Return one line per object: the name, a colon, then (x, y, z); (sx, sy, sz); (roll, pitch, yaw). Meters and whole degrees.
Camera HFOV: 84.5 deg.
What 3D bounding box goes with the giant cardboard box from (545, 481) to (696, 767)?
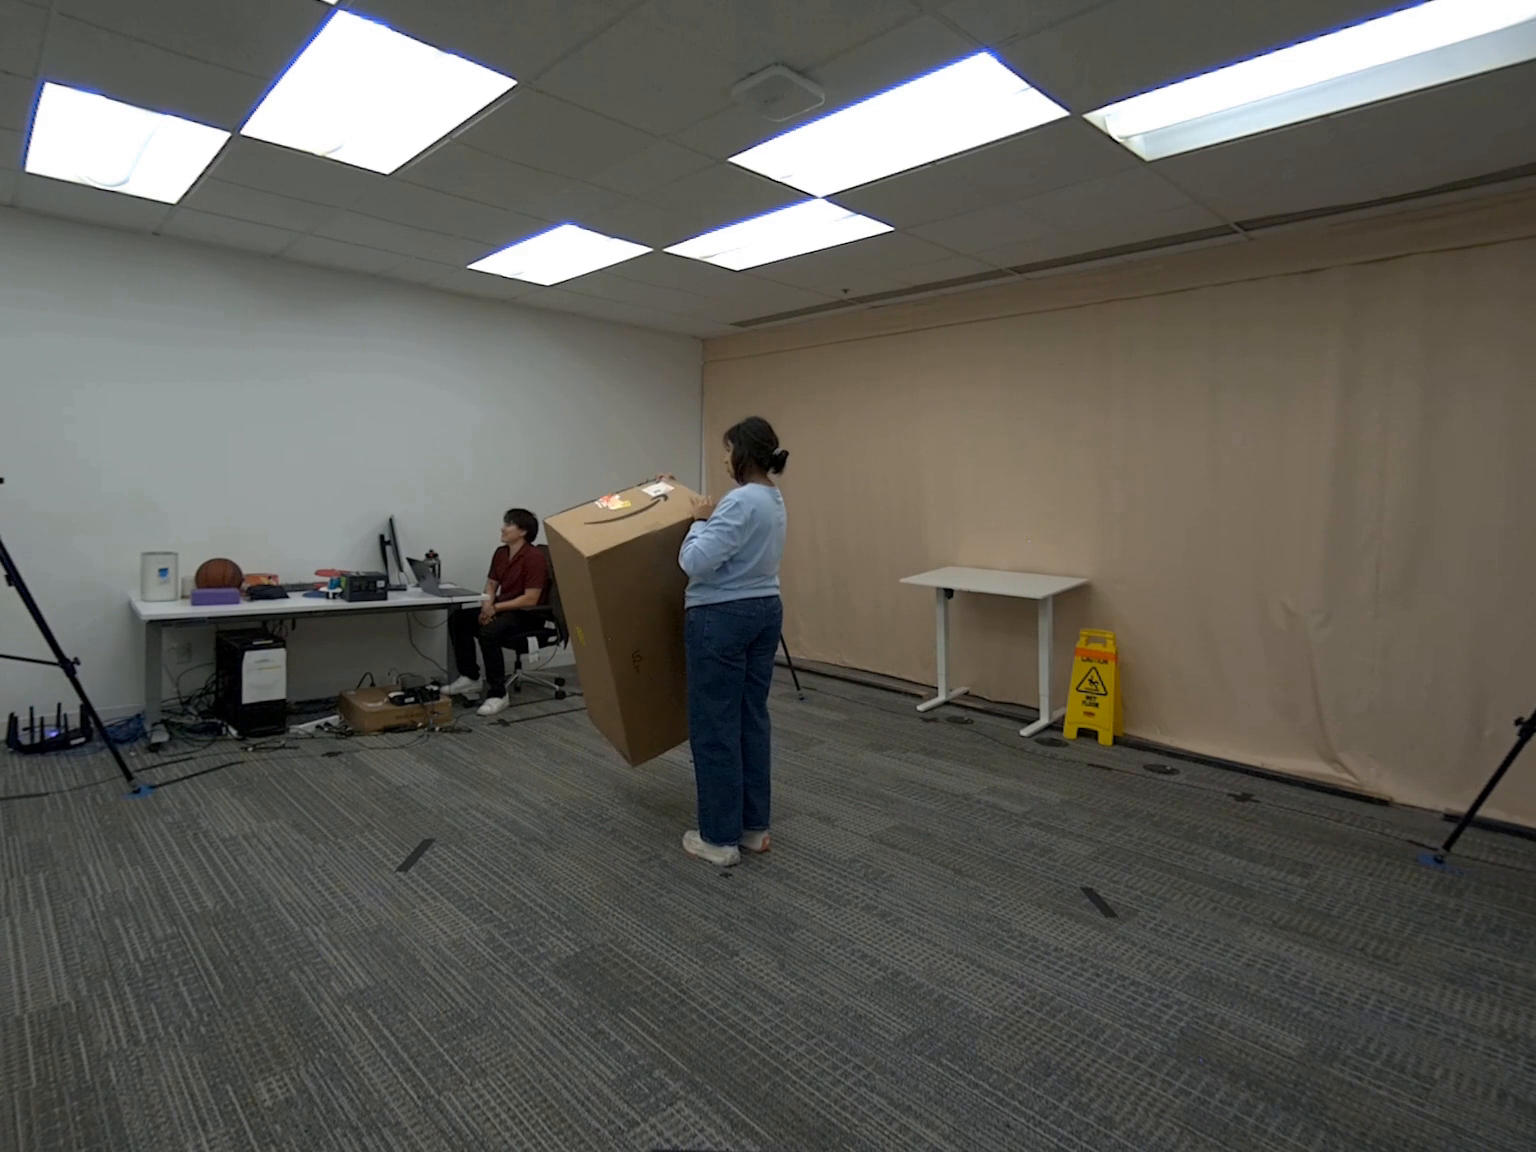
giant cardboard box: (-0.508, 0.187, 3.540); (0.577, 1.006, 0.461); (-22, 32, -27)
